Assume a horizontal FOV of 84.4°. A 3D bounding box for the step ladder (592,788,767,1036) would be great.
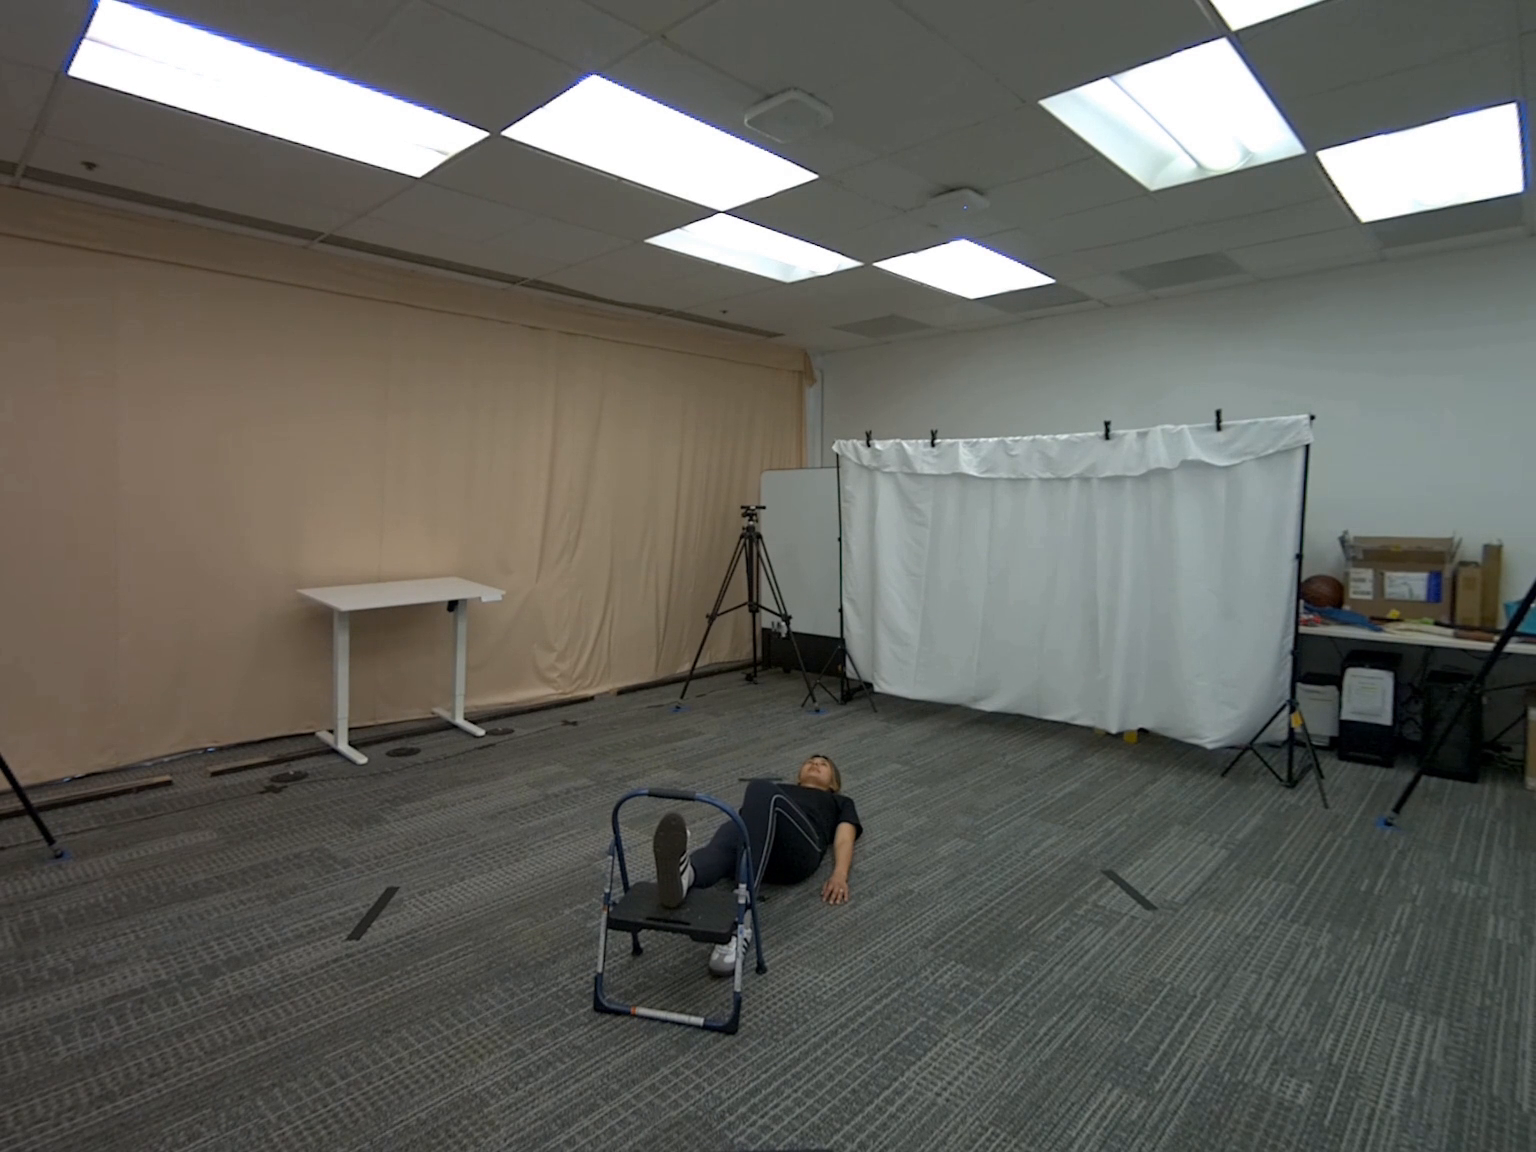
[{"bbox_3d":[-0.252,0.893,2.410,0.437,0.605,0.344,1,3,14],"label":"step ladder"}]
